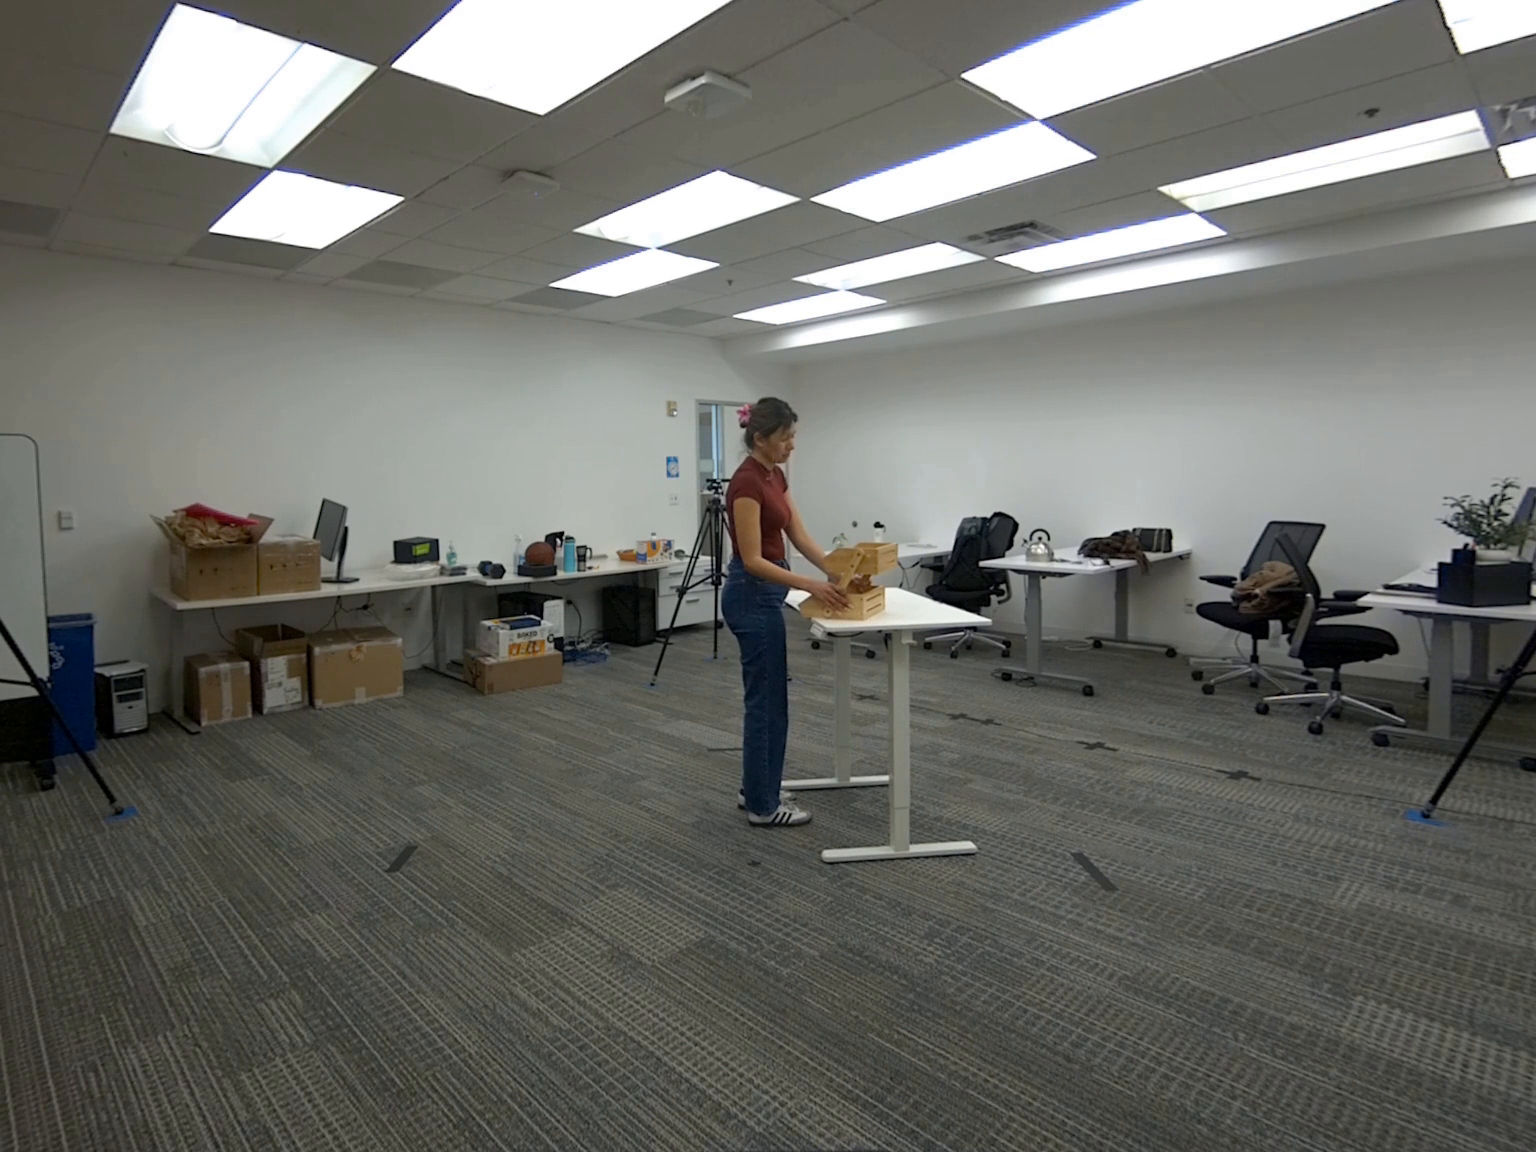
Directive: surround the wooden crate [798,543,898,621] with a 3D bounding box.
[{"bbox_3d":[0.300,0.010,3.221,0.309,0.272,0.318,1,5,24],"label":"wooden crate"}]
